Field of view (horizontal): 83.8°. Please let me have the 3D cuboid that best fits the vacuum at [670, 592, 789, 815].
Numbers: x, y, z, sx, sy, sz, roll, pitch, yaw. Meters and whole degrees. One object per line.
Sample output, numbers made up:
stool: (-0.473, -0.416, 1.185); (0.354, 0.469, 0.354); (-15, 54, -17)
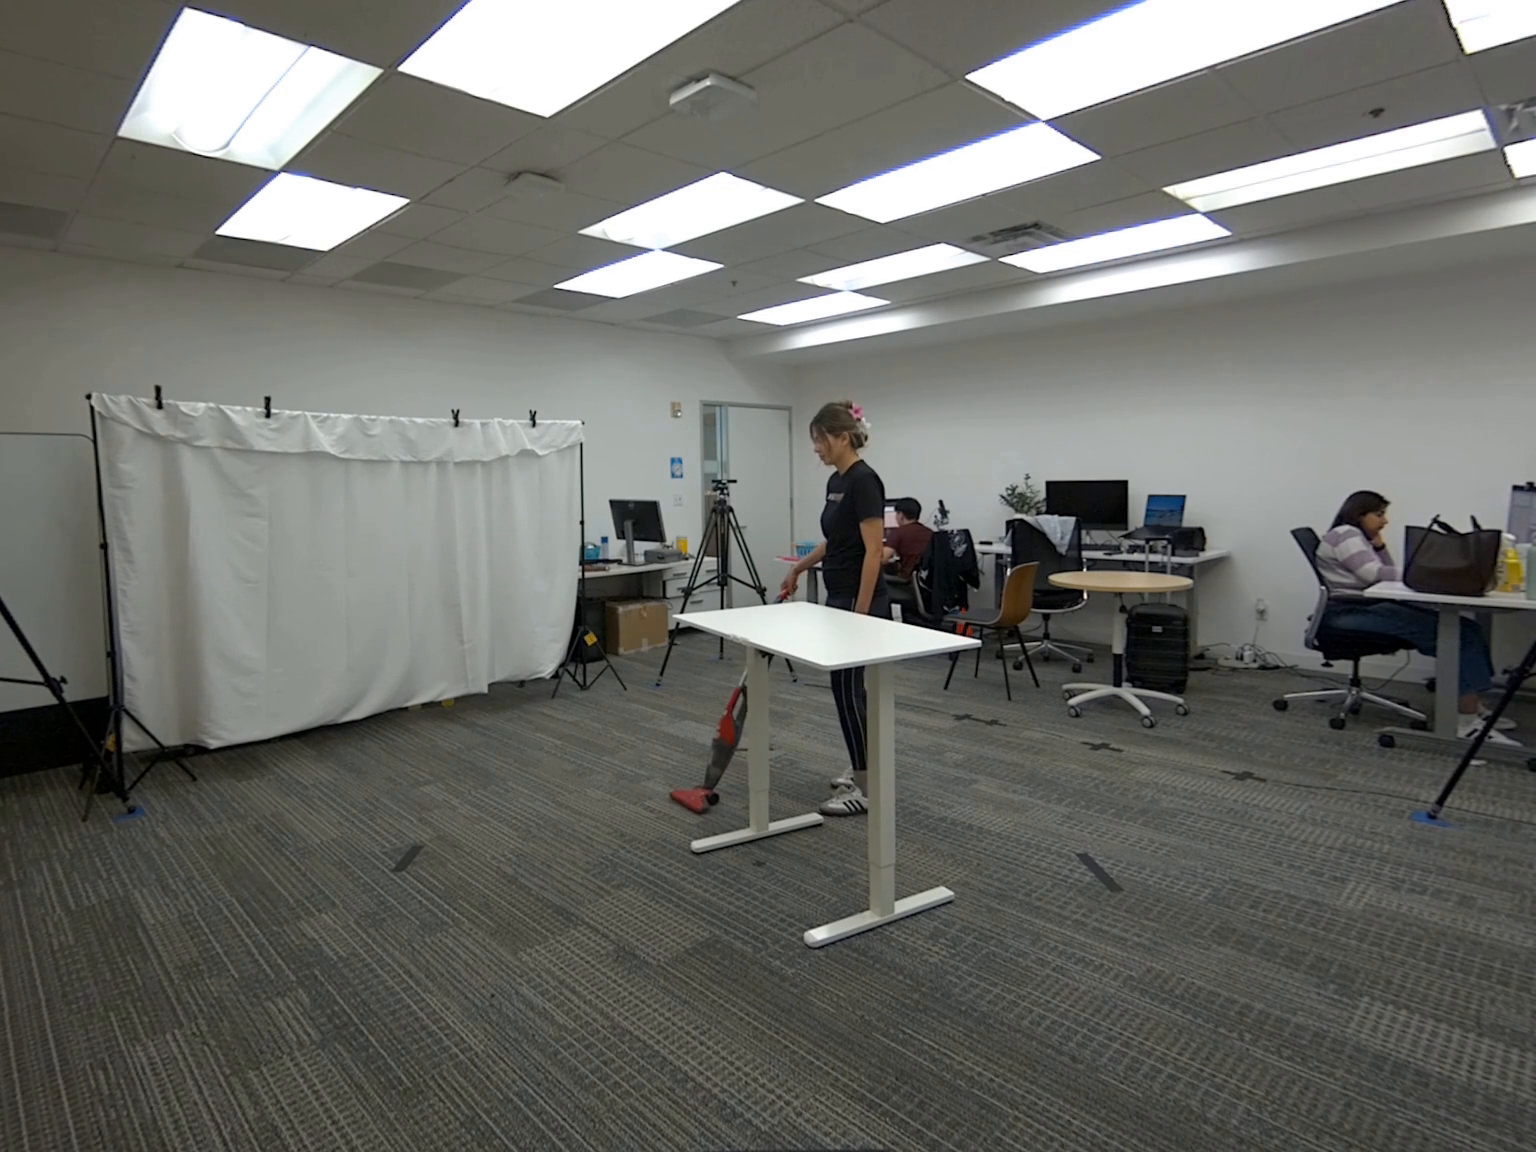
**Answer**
vacuum: (-0.106, 0.519, 3.837); (0.139, 1.056, 0.260); (34, -18, -36)
